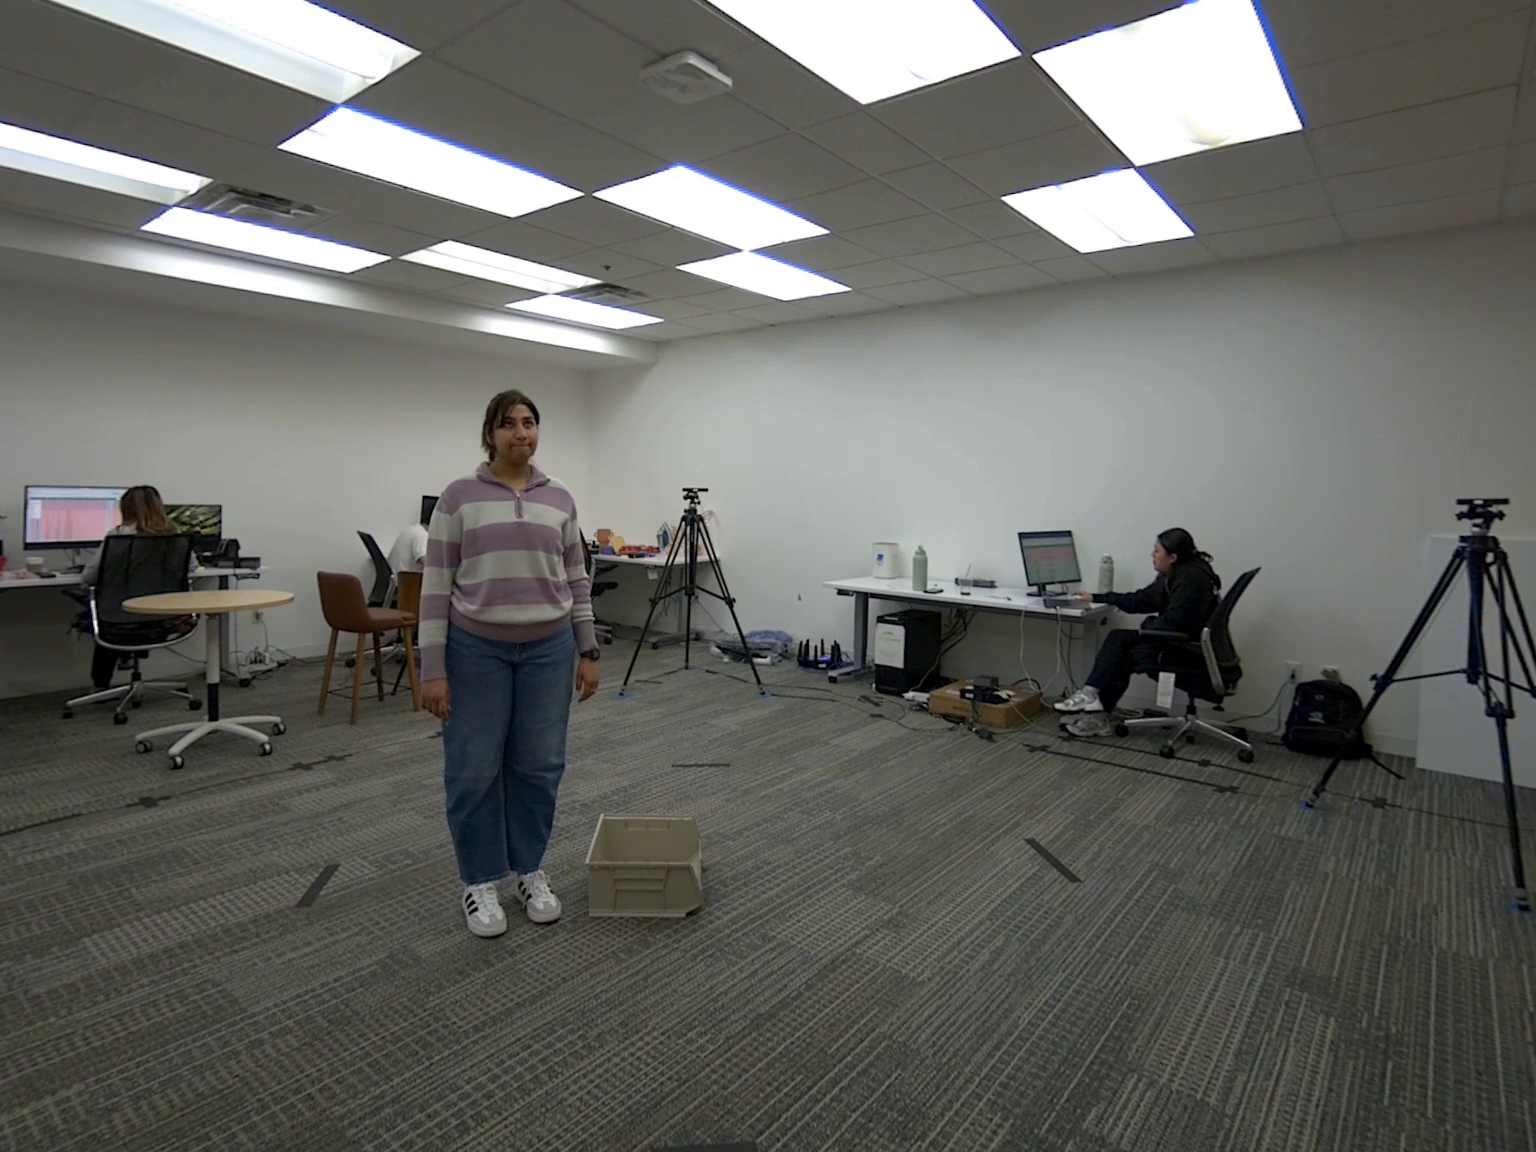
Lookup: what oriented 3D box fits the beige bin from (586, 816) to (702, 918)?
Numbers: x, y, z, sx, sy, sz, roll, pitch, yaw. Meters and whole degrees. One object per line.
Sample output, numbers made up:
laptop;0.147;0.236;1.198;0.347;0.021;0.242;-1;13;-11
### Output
beige bin;-0.427;0.990;2.946;0.377;0.188;0.425;0;5;-3
